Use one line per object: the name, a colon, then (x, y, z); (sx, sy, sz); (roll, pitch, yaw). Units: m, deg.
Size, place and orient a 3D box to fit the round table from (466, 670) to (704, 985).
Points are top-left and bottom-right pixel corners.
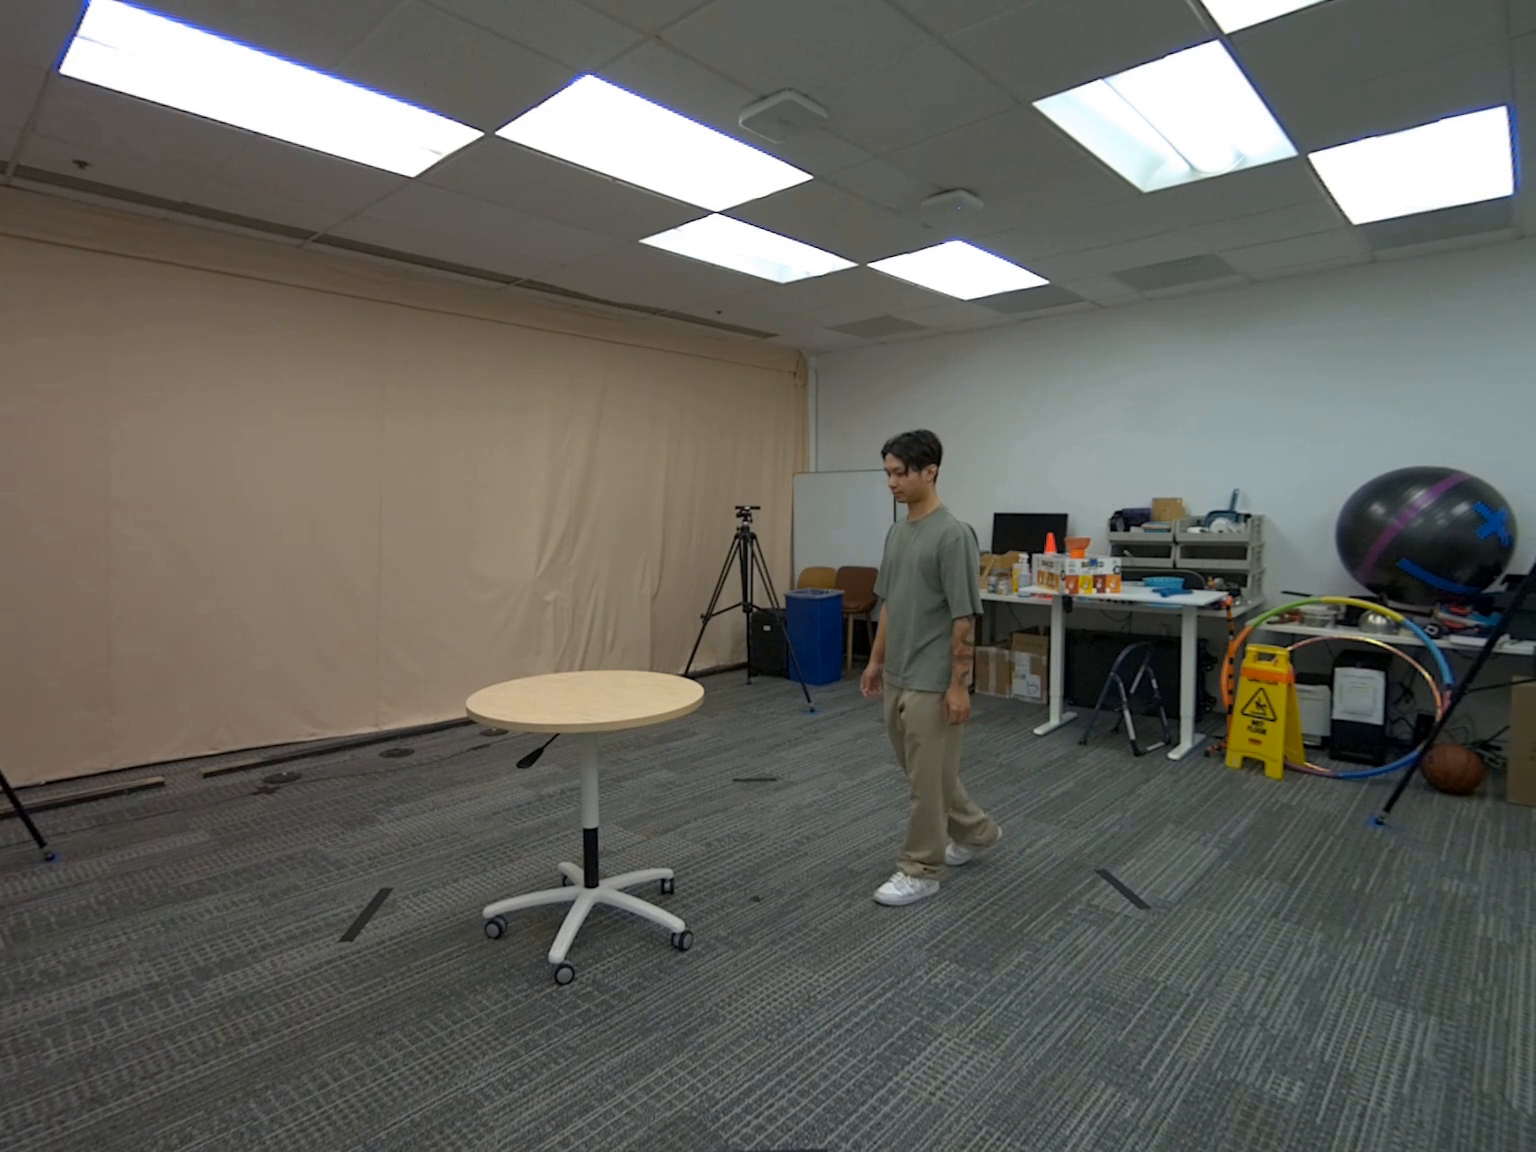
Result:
round table: (-0.585, 0.776, 2.762); (0.784, 0.785, 0.788); (-1, 3, -2)
